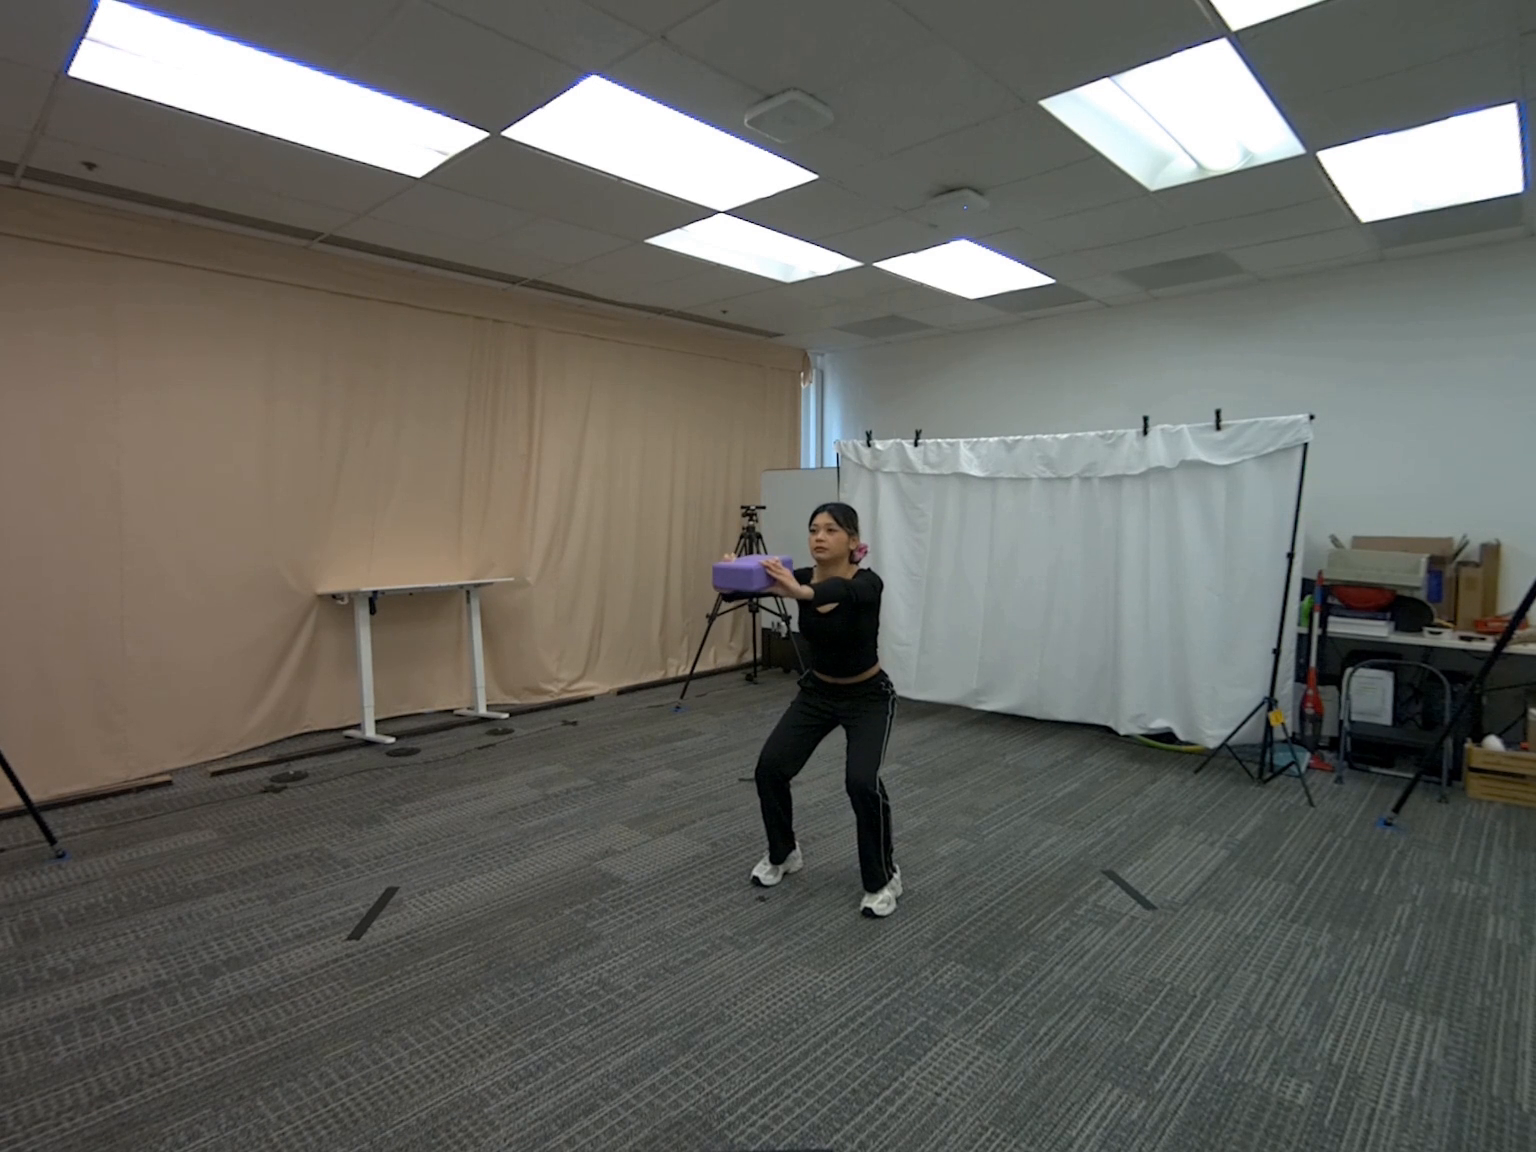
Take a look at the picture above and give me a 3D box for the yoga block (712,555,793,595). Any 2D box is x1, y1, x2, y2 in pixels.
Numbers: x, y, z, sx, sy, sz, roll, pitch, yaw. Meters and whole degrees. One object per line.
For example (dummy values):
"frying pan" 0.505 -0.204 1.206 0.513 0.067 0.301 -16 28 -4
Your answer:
"yoga block" -0.038 -0.016 2.505 0.153 0.076 0.223 4 9 32
